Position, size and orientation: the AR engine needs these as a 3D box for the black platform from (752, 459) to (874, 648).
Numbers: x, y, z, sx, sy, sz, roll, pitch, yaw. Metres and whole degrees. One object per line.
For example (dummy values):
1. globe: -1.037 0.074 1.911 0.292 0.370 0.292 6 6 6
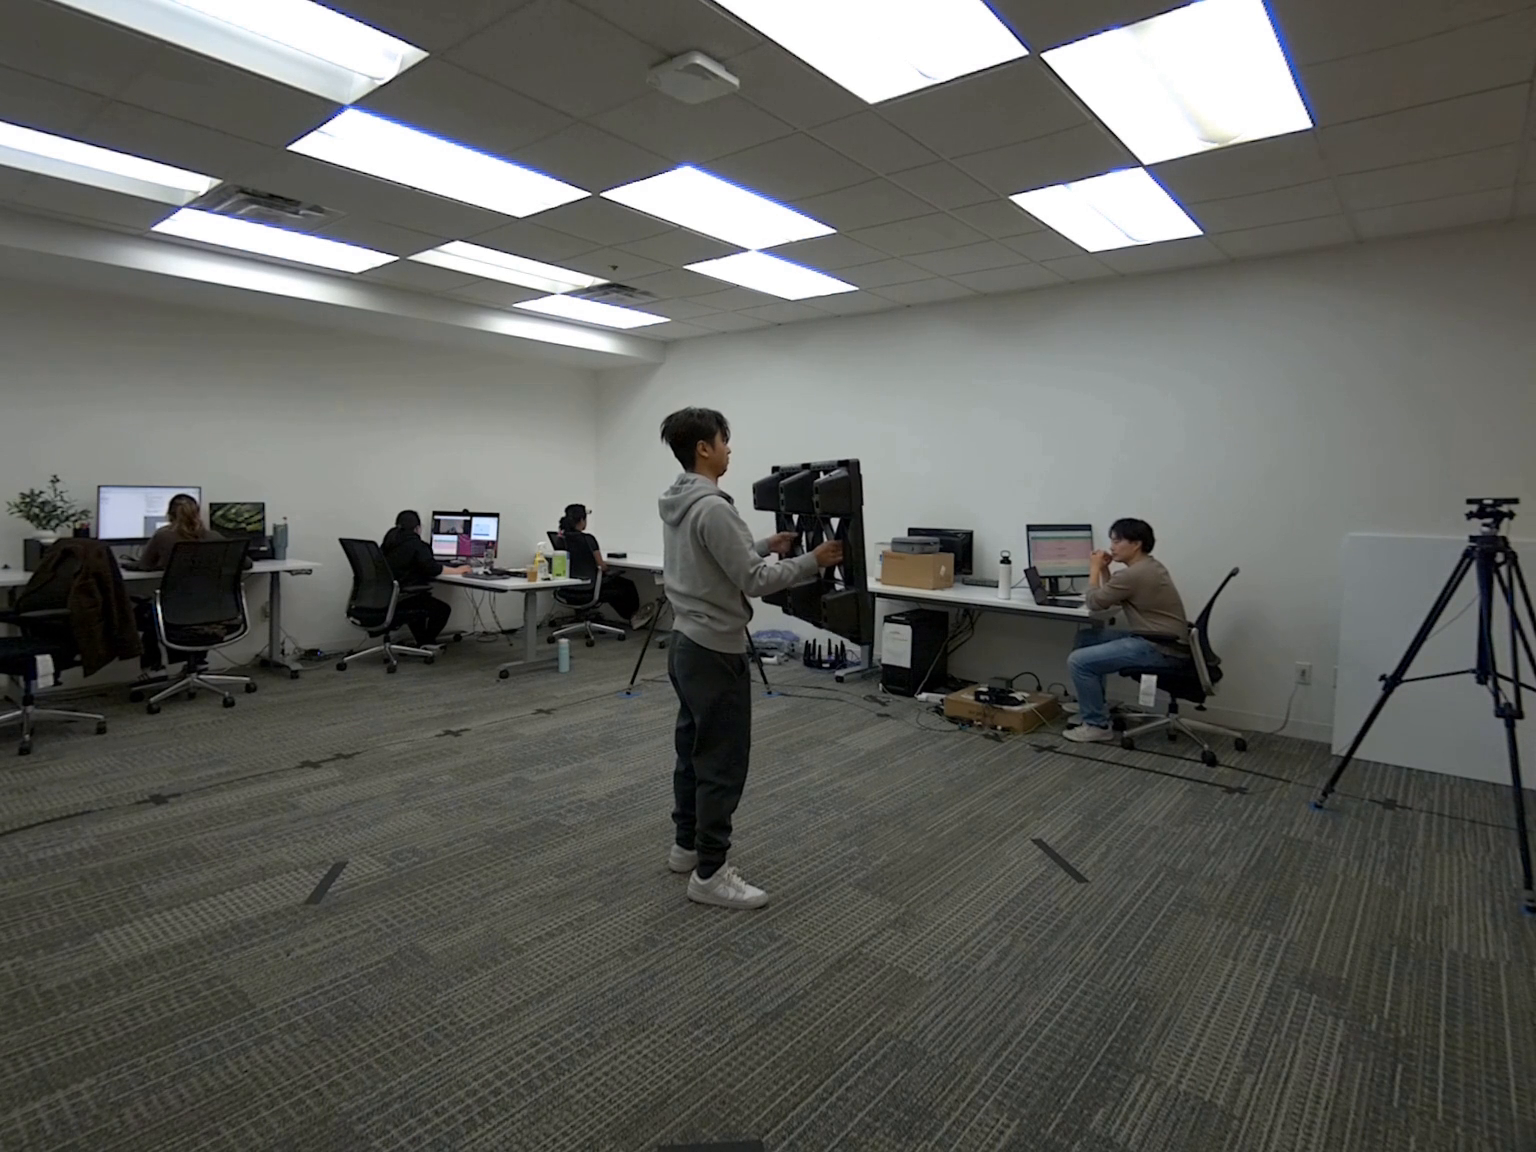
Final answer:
1. black platform: 0.118 -0.104 3.063 0.141 0.602 0.822 -4 6 -17
